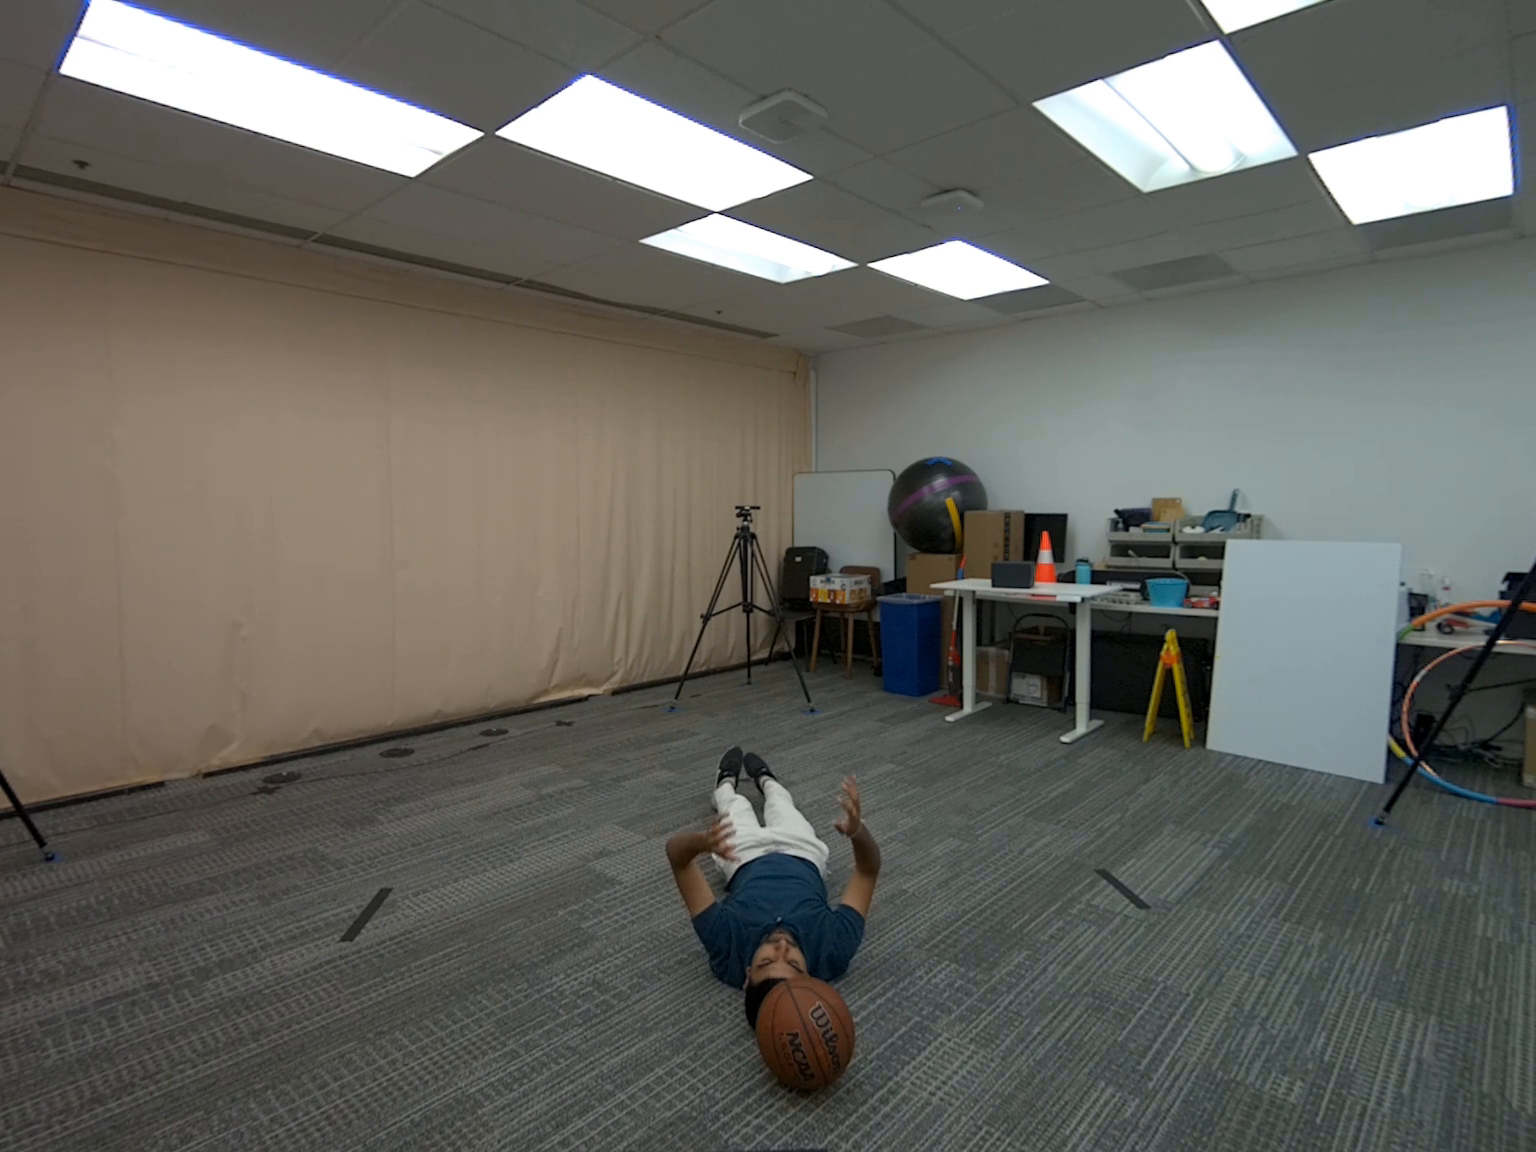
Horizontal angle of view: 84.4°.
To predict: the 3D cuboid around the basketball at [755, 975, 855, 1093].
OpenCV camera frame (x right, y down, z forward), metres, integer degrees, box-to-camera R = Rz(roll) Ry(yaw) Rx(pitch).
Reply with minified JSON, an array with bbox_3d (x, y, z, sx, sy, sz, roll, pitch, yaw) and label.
[{"bbox_3d":[0.097,1.104,2.034,0.236,0.235,0.237,0,4,-2],"label":"basketball"}]
